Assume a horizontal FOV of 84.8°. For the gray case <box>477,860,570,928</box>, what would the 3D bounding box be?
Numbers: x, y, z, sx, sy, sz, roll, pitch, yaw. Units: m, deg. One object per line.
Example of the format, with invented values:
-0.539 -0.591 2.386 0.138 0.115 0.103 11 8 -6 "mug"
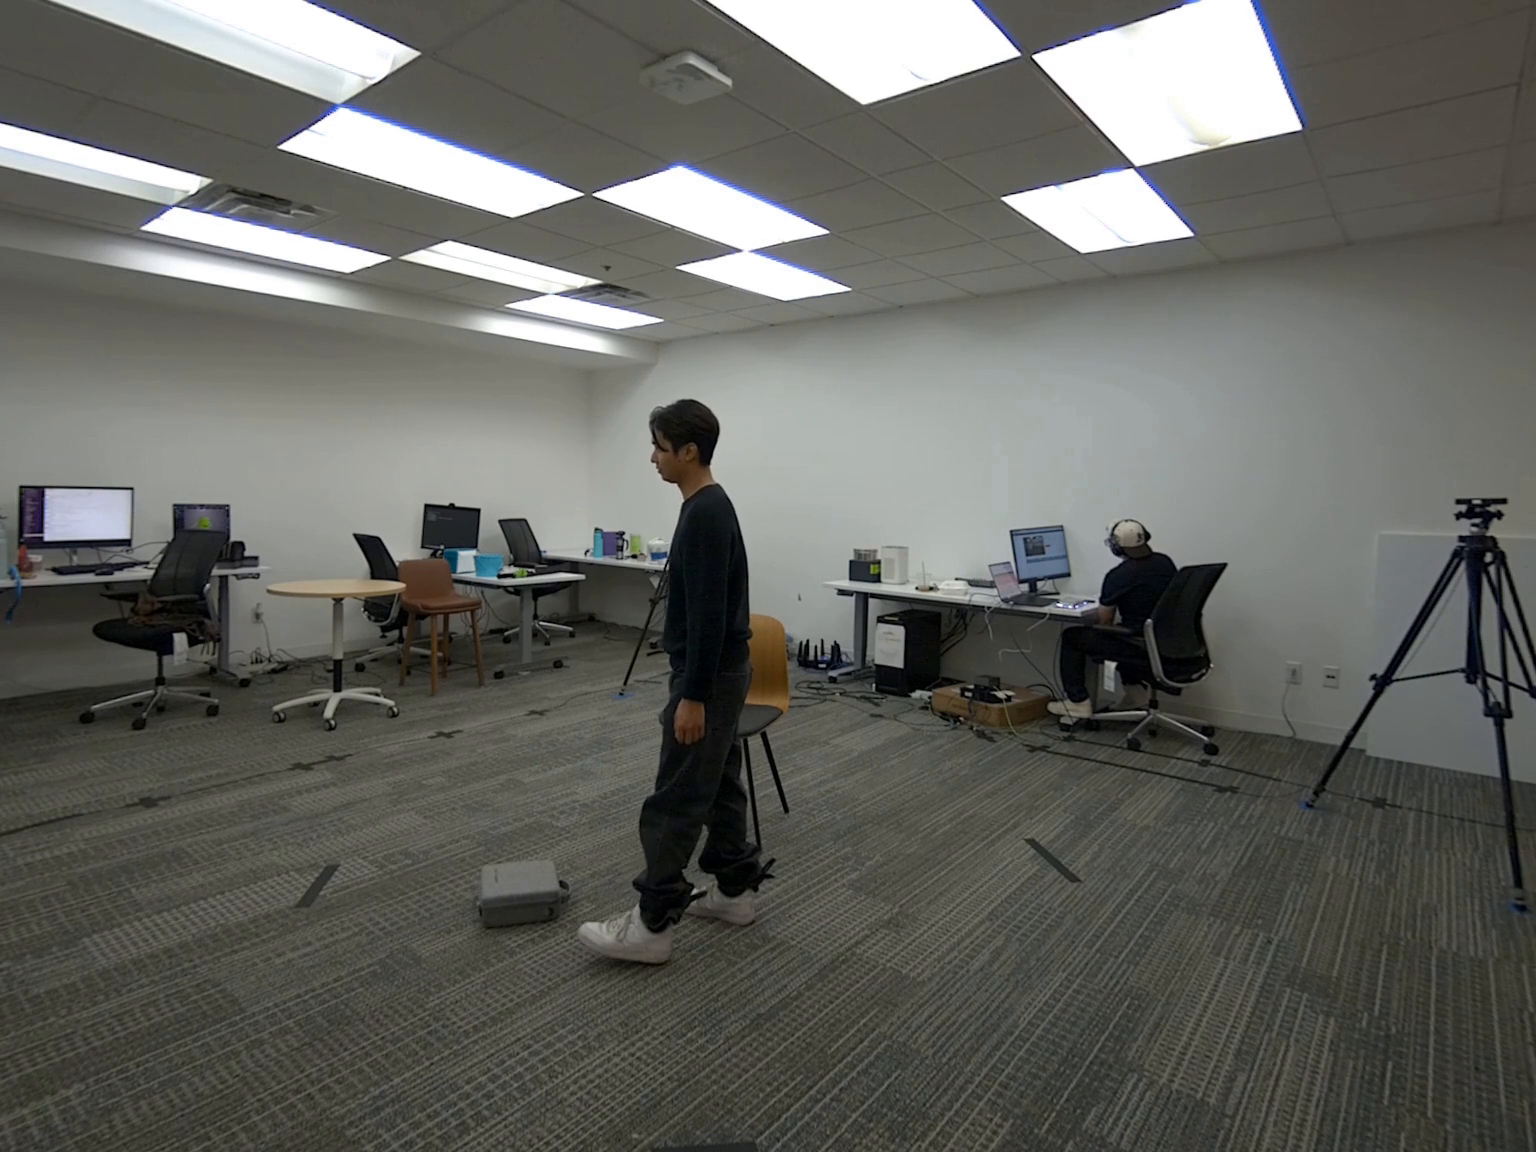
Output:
-0.827 1.036 2.807 0.256 0.104 0.262 -1 5 -18 "gray case"
